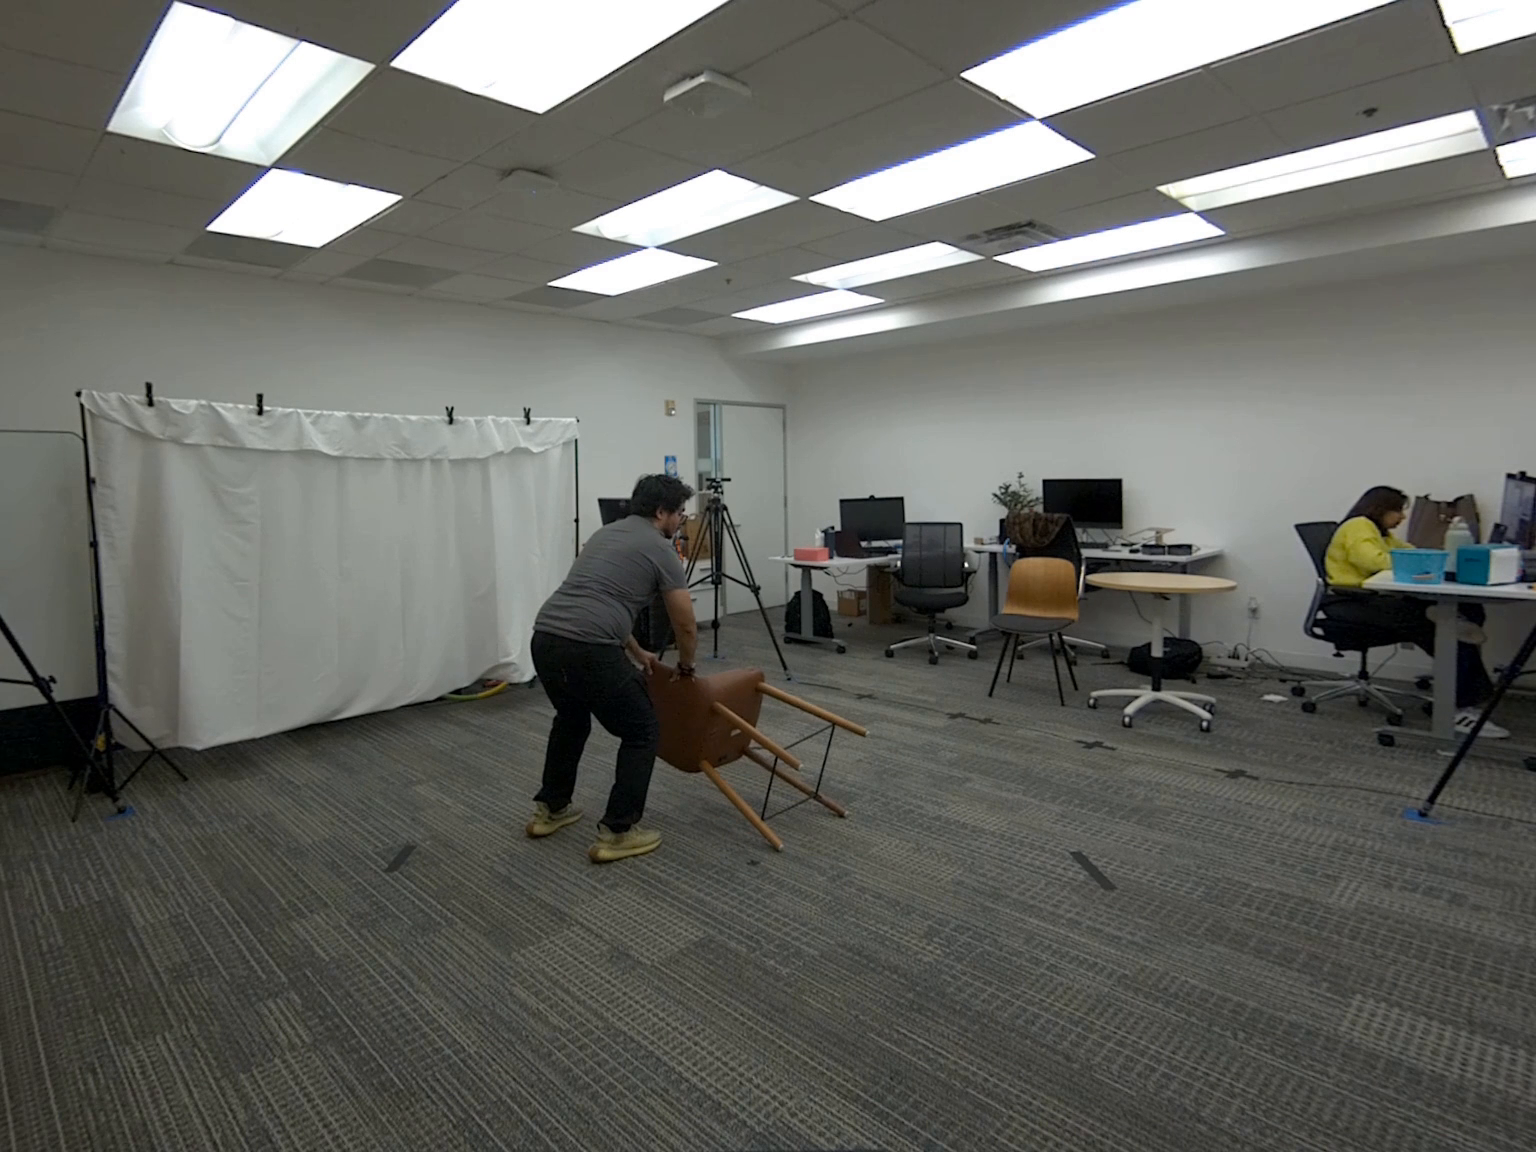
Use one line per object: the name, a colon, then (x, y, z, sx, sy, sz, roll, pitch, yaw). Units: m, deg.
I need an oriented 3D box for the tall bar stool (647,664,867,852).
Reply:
tall bar stool: (-0.102, 0.674, 3.568, 0.922, 0.451, 0.456, 25, 22, 35)
